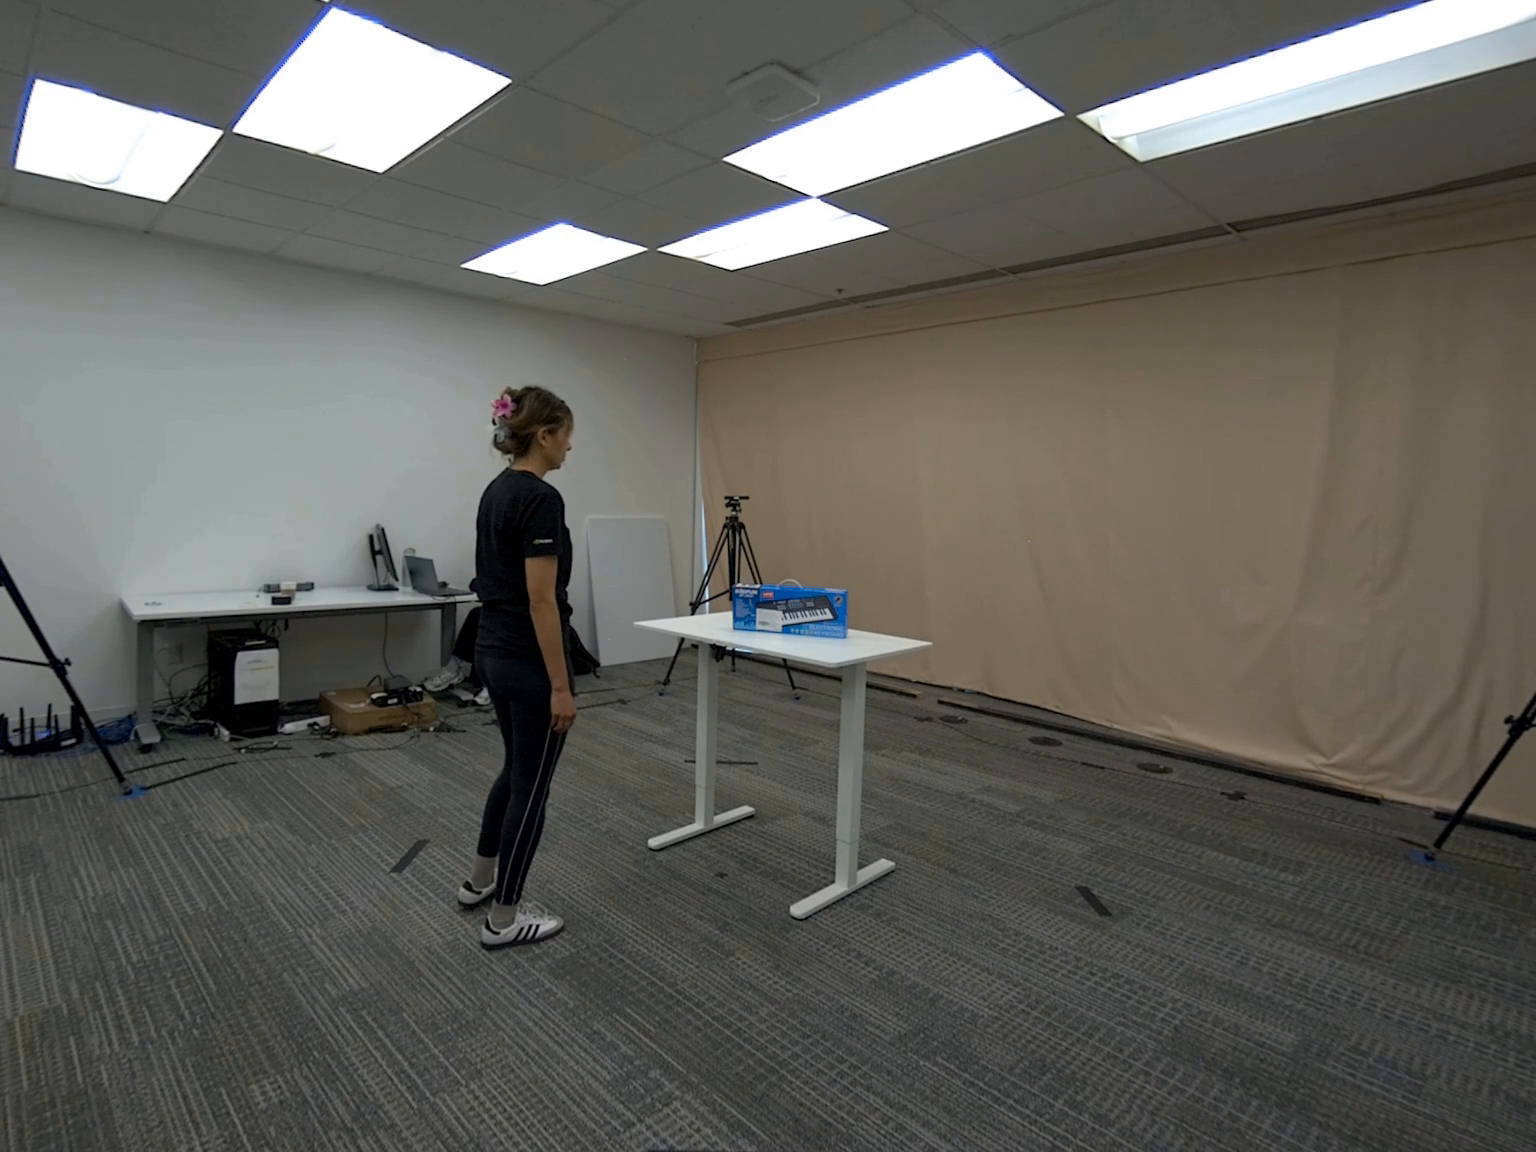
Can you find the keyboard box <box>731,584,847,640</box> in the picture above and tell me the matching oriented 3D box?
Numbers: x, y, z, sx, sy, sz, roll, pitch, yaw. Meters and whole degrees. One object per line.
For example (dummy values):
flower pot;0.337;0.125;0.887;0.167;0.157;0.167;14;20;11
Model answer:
keyboard box;0.077;0.132;3.182;0.443;0.174;0.059;4;11;18
